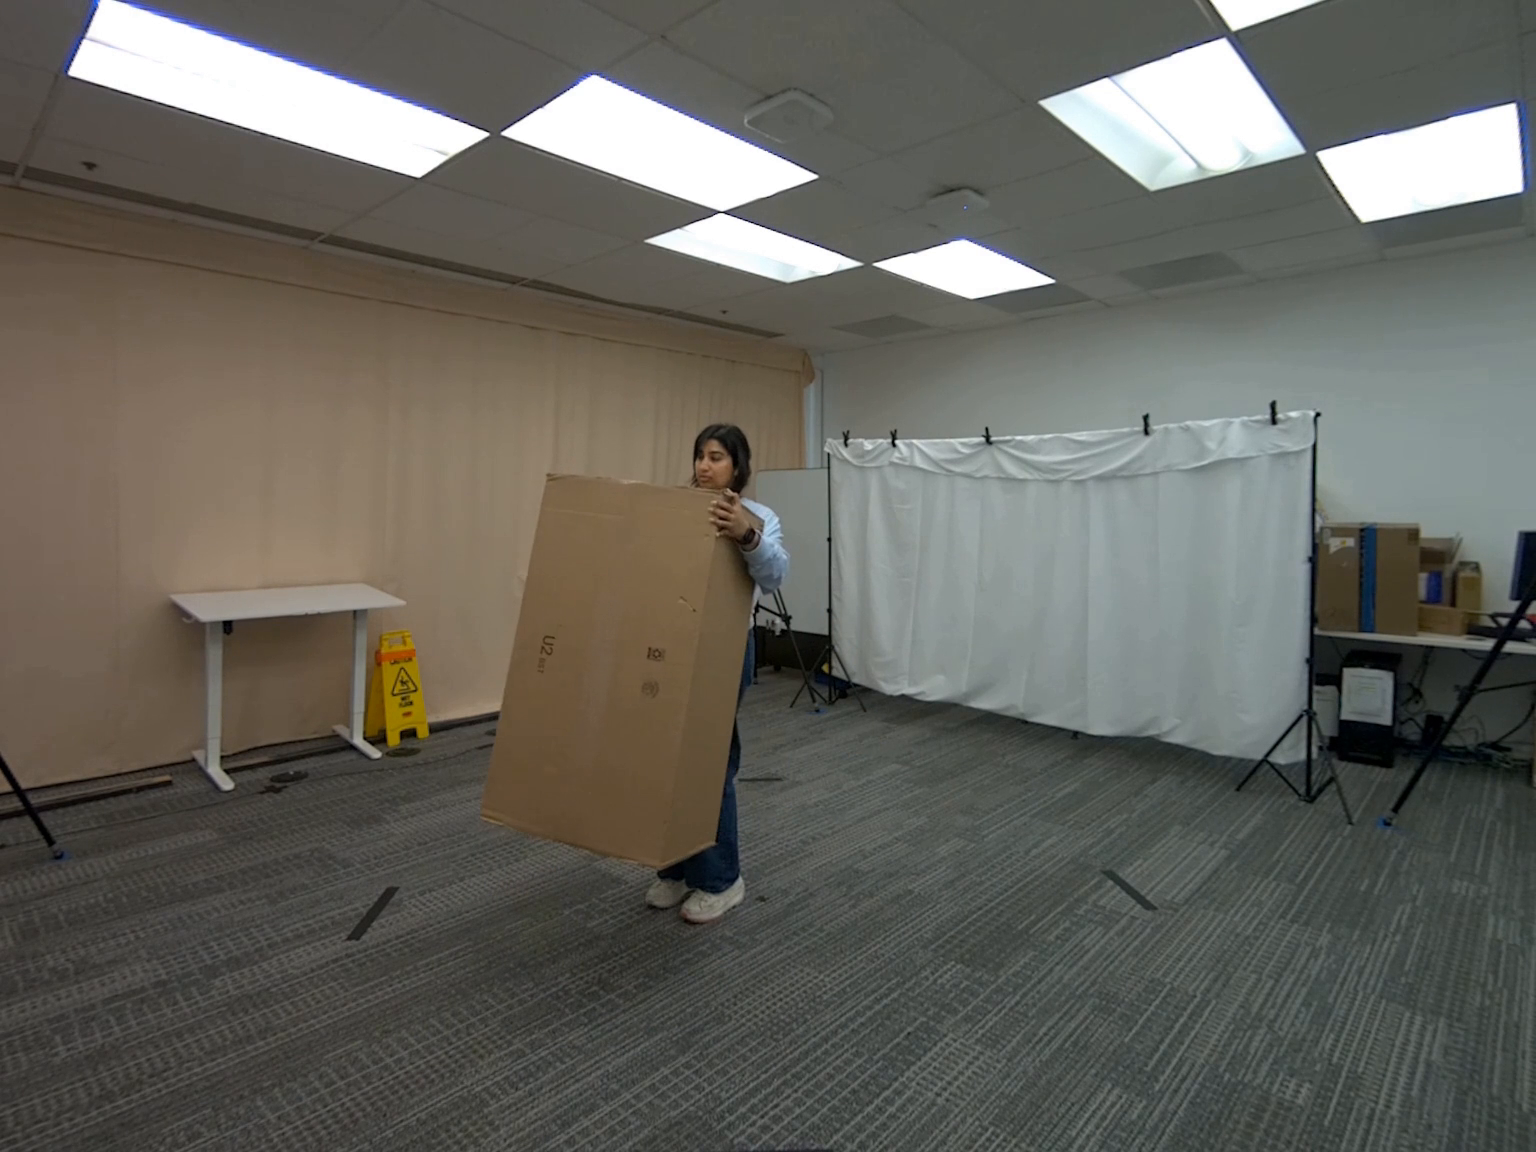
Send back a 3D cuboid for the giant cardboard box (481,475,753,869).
[{"bbox_3d":[-0.407,0.266,2.547,0.598,1.030,0.435,7,-8,21],"label":"giant cardboard box"}]
